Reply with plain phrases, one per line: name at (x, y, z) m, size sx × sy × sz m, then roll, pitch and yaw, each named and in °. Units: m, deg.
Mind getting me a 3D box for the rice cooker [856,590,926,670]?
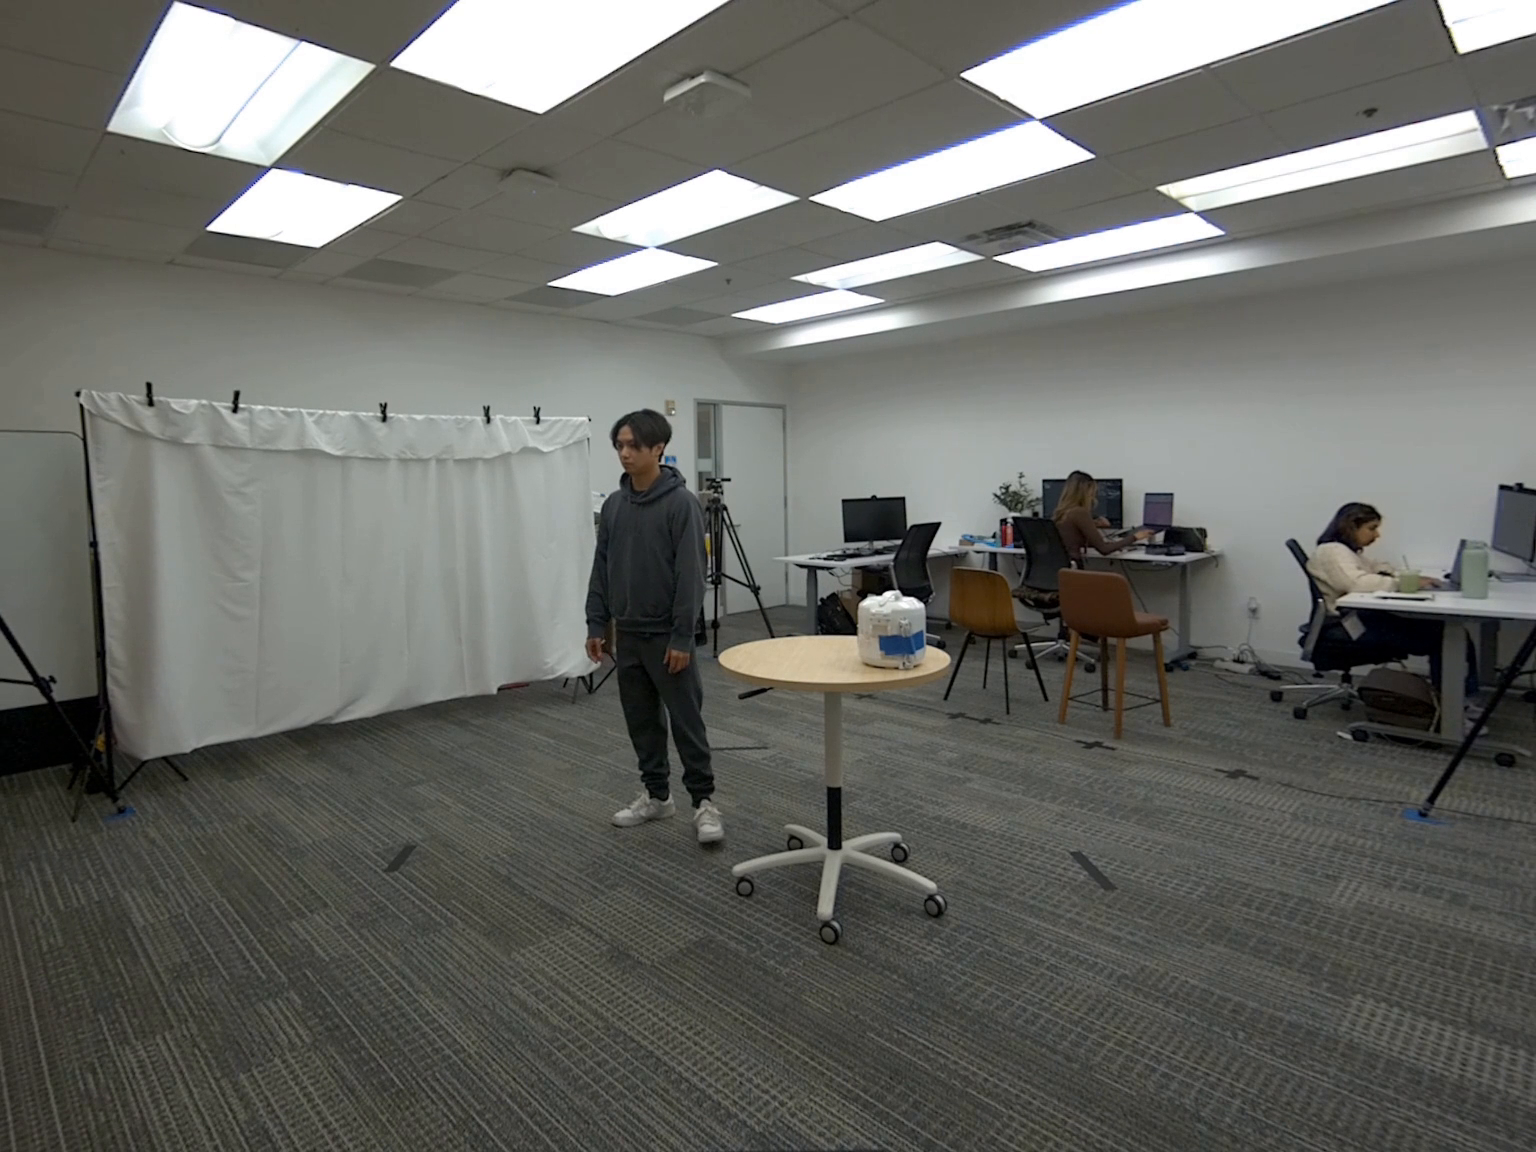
rice cooker at (0.395, 0.163, 2.716) m, size 0.223 × 0.232 × 0.216 m, roll 2°, pitch 6°, yaw 29°
